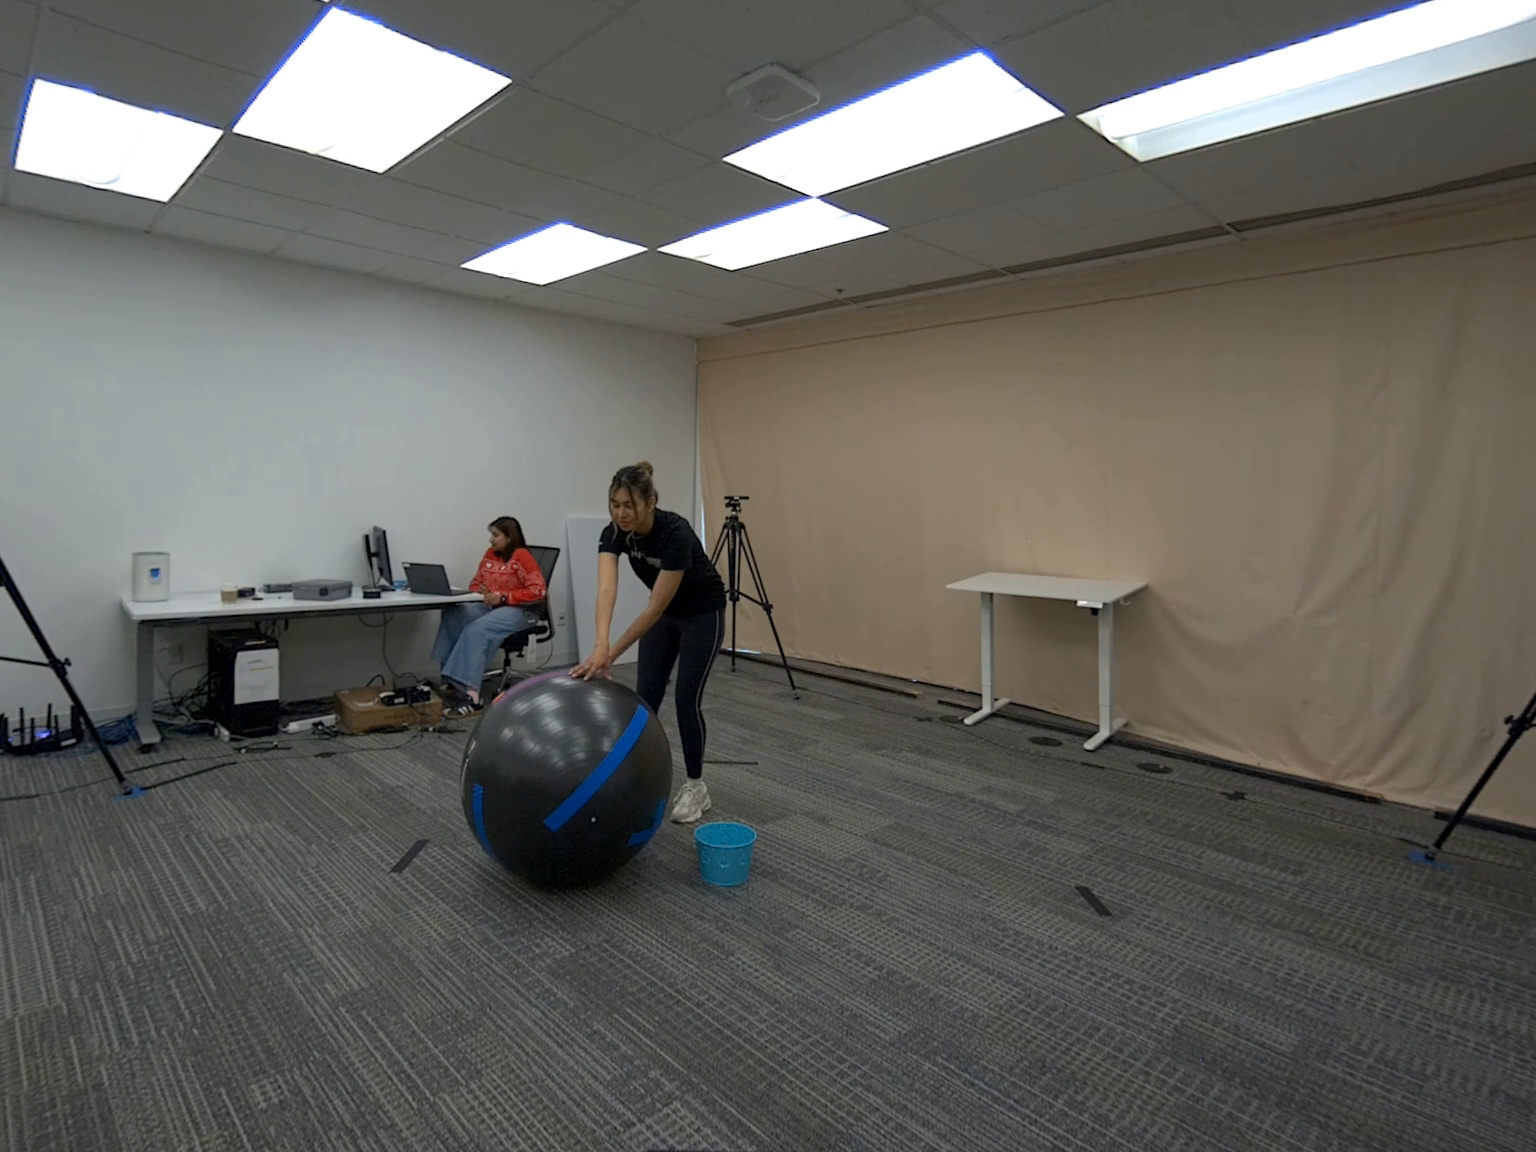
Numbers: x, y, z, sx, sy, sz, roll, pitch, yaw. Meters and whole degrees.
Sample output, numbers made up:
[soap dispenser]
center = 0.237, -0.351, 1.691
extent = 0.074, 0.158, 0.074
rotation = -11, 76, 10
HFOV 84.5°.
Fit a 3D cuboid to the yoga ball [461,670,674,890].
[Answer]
[yoga ball]
center = -0.735, 0.728, 3.067
extent = 0.757, 0.756, 0.761
rotation = 1, 4, -1
